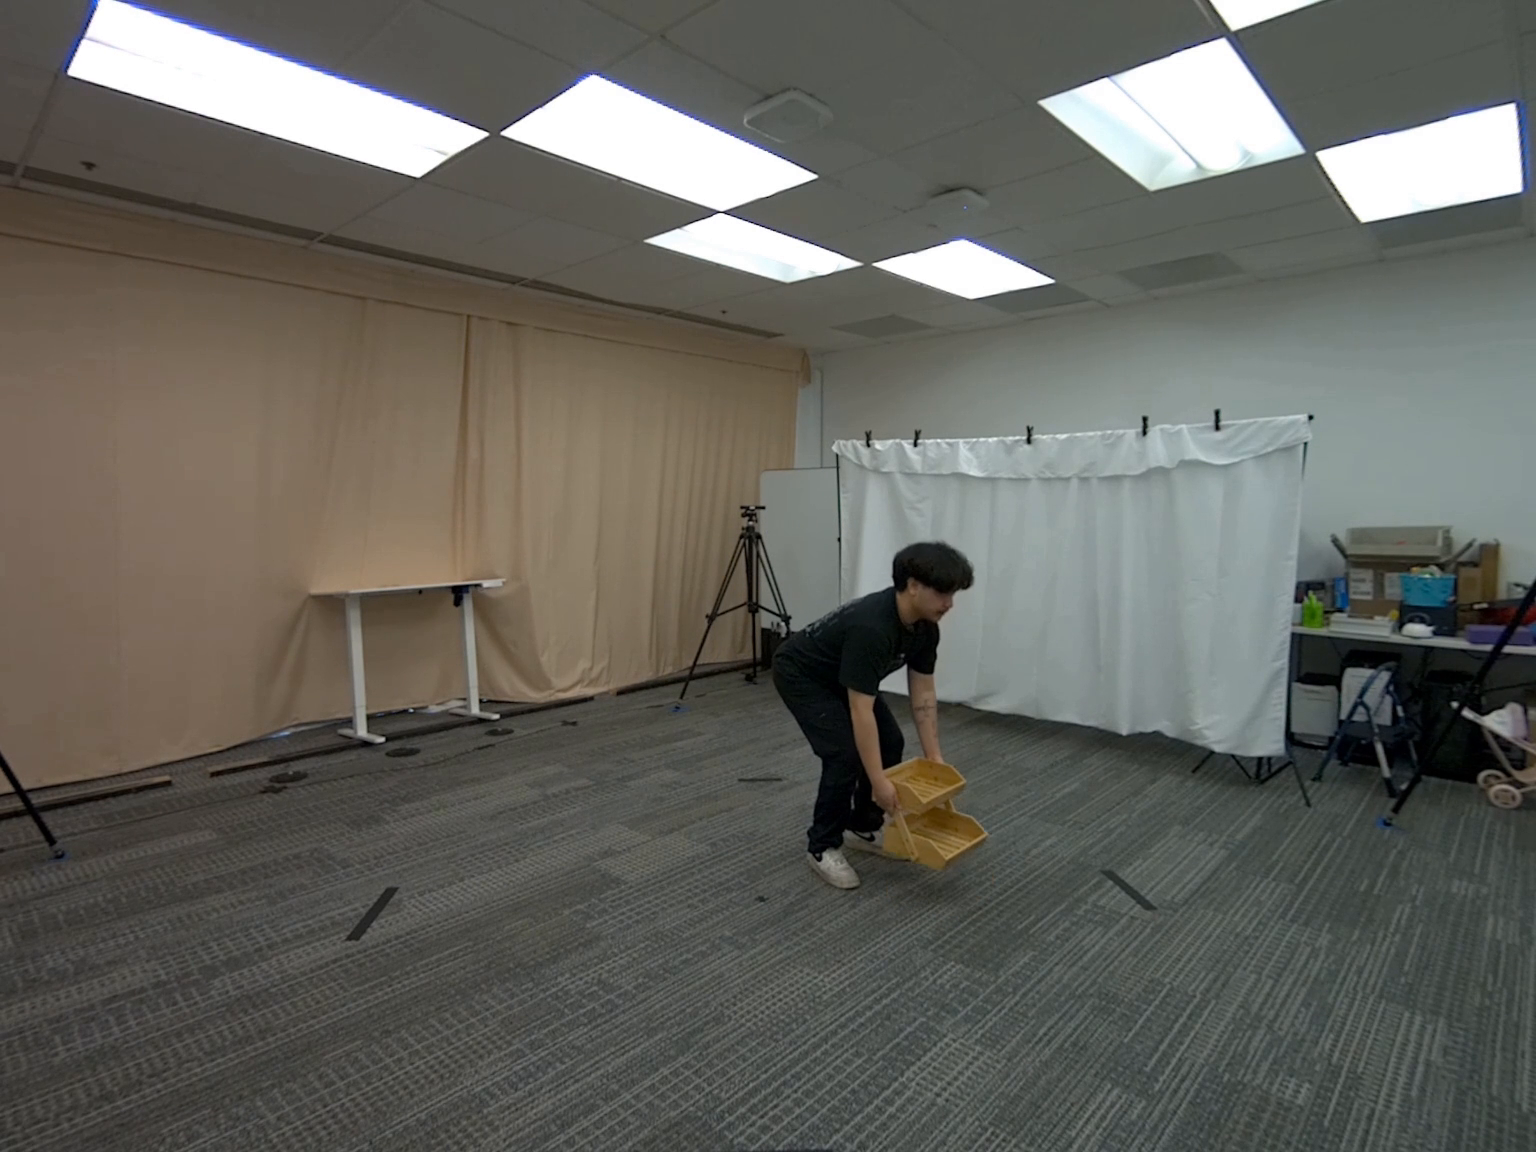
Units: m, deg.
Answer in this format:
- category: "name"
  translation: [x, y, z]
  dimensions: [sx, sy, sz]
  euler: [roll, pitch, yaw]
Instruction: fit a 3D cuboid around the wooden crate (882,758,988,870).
- category: "wooden crate"
  translation: [0.598, 0.842, 3.029]
  dimensions: [0.312, 0.272, 0.315]
  euler: [5, 7, 42]
